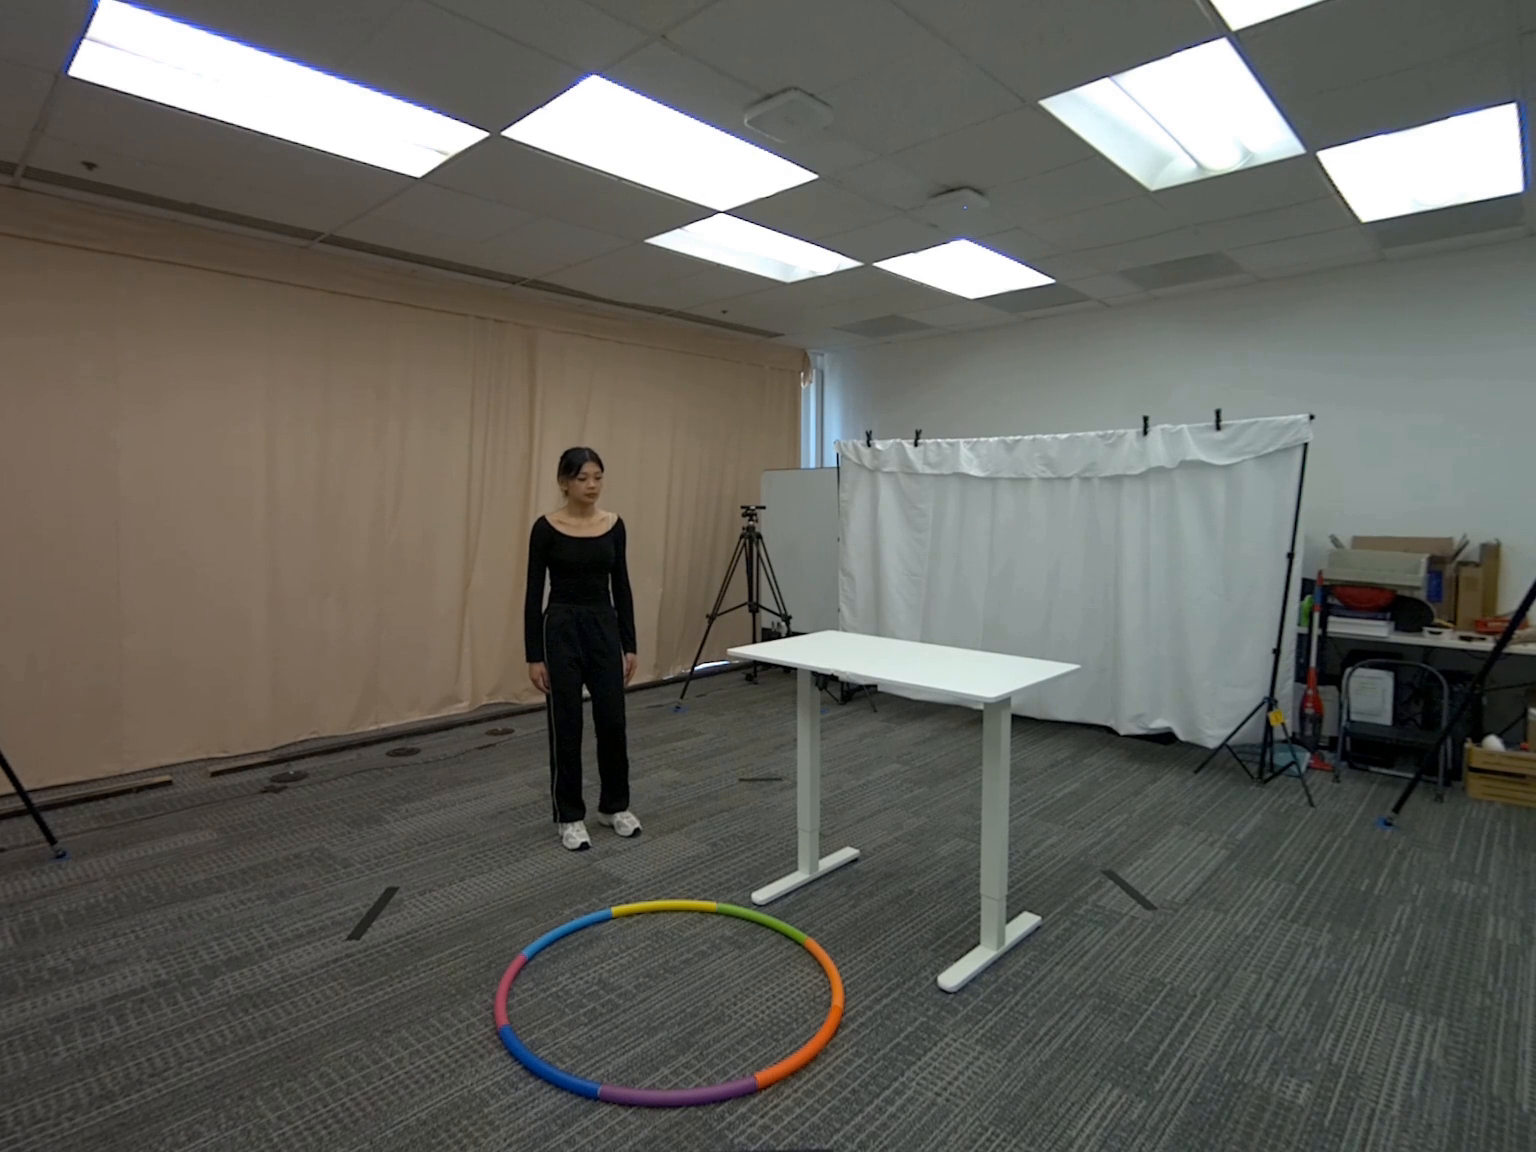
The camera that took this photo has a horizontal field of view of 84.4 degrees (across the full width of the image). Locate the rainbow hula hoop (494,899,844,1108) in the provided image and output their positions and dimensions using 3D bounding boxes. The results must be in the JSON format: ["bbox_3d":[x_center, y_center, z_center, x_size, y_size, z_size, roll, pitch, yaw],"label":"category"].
[{"bbox_3d":[-0.275,1.162,2.434,0.978,0.035,0.982,-1,5,-2],"label":"rainbow hula hoop"}]
